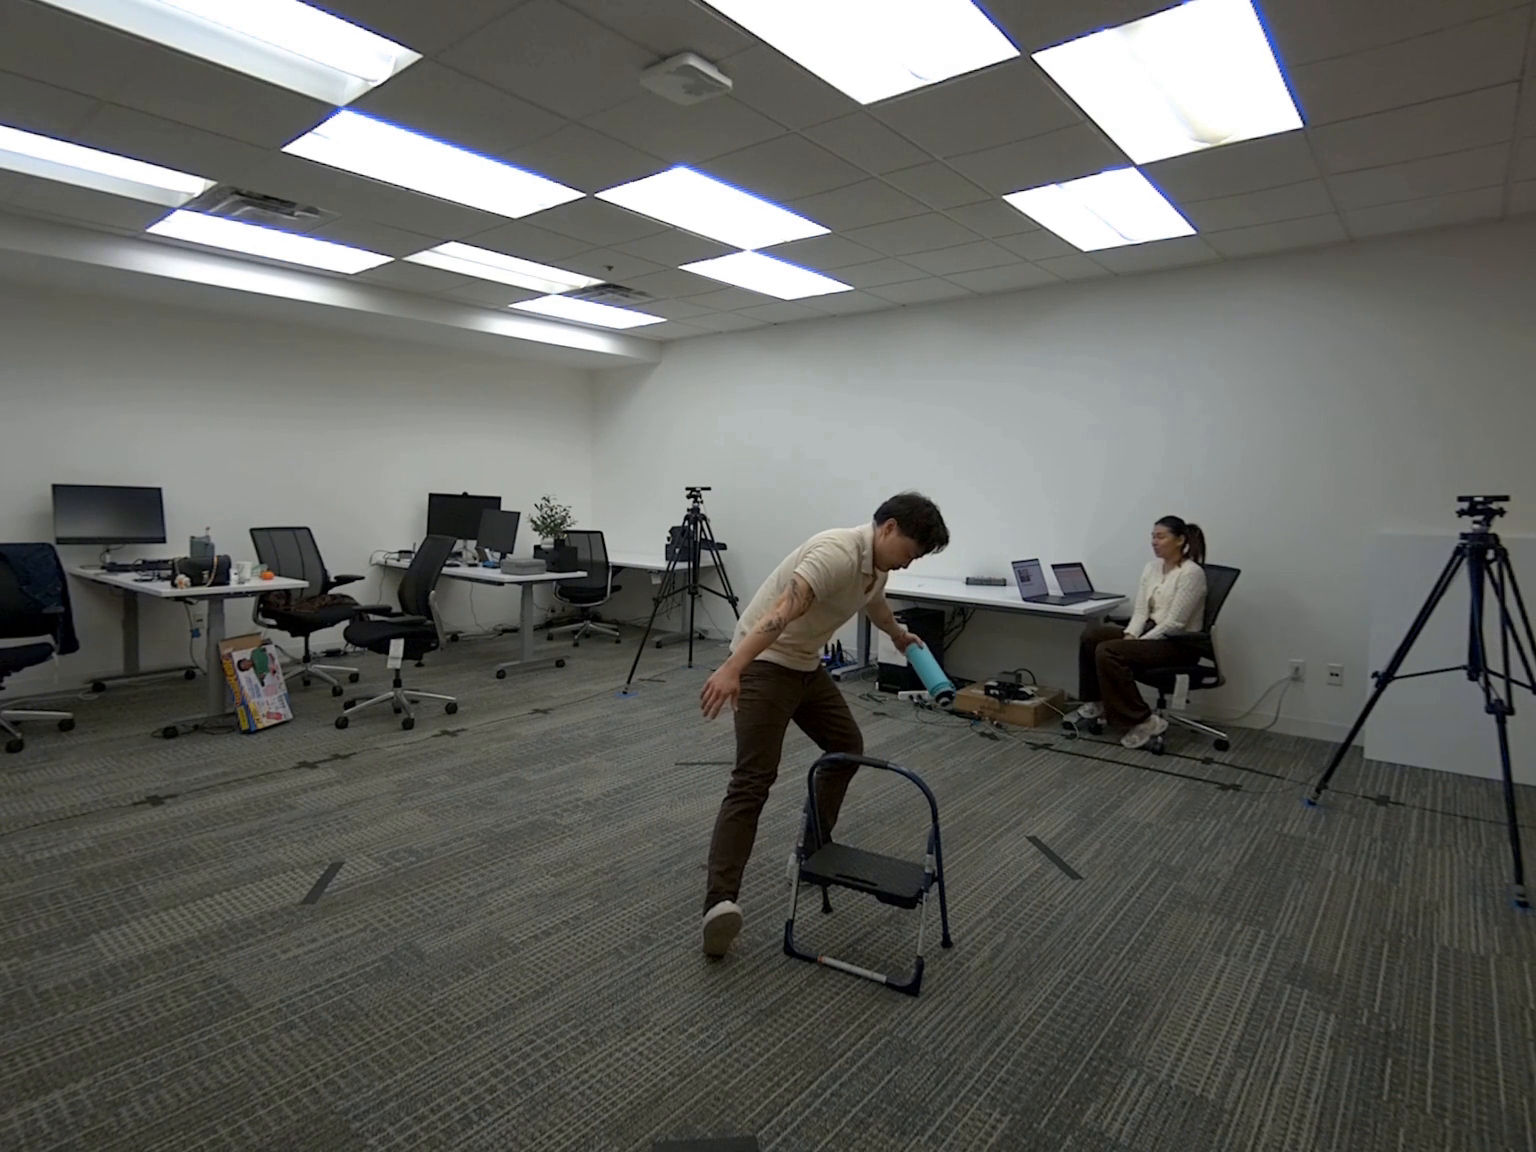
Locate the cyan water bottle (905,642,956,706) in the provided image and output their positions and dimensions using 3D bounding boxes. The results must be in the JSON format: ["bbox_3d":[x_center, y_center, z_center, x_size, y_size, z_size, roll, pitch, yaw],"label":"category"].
[{"bbox_3d":[0.631,0.394,3.290,0.090,0.091,0.295,-2,40,-27],"label":"cyan water bottle"}]
